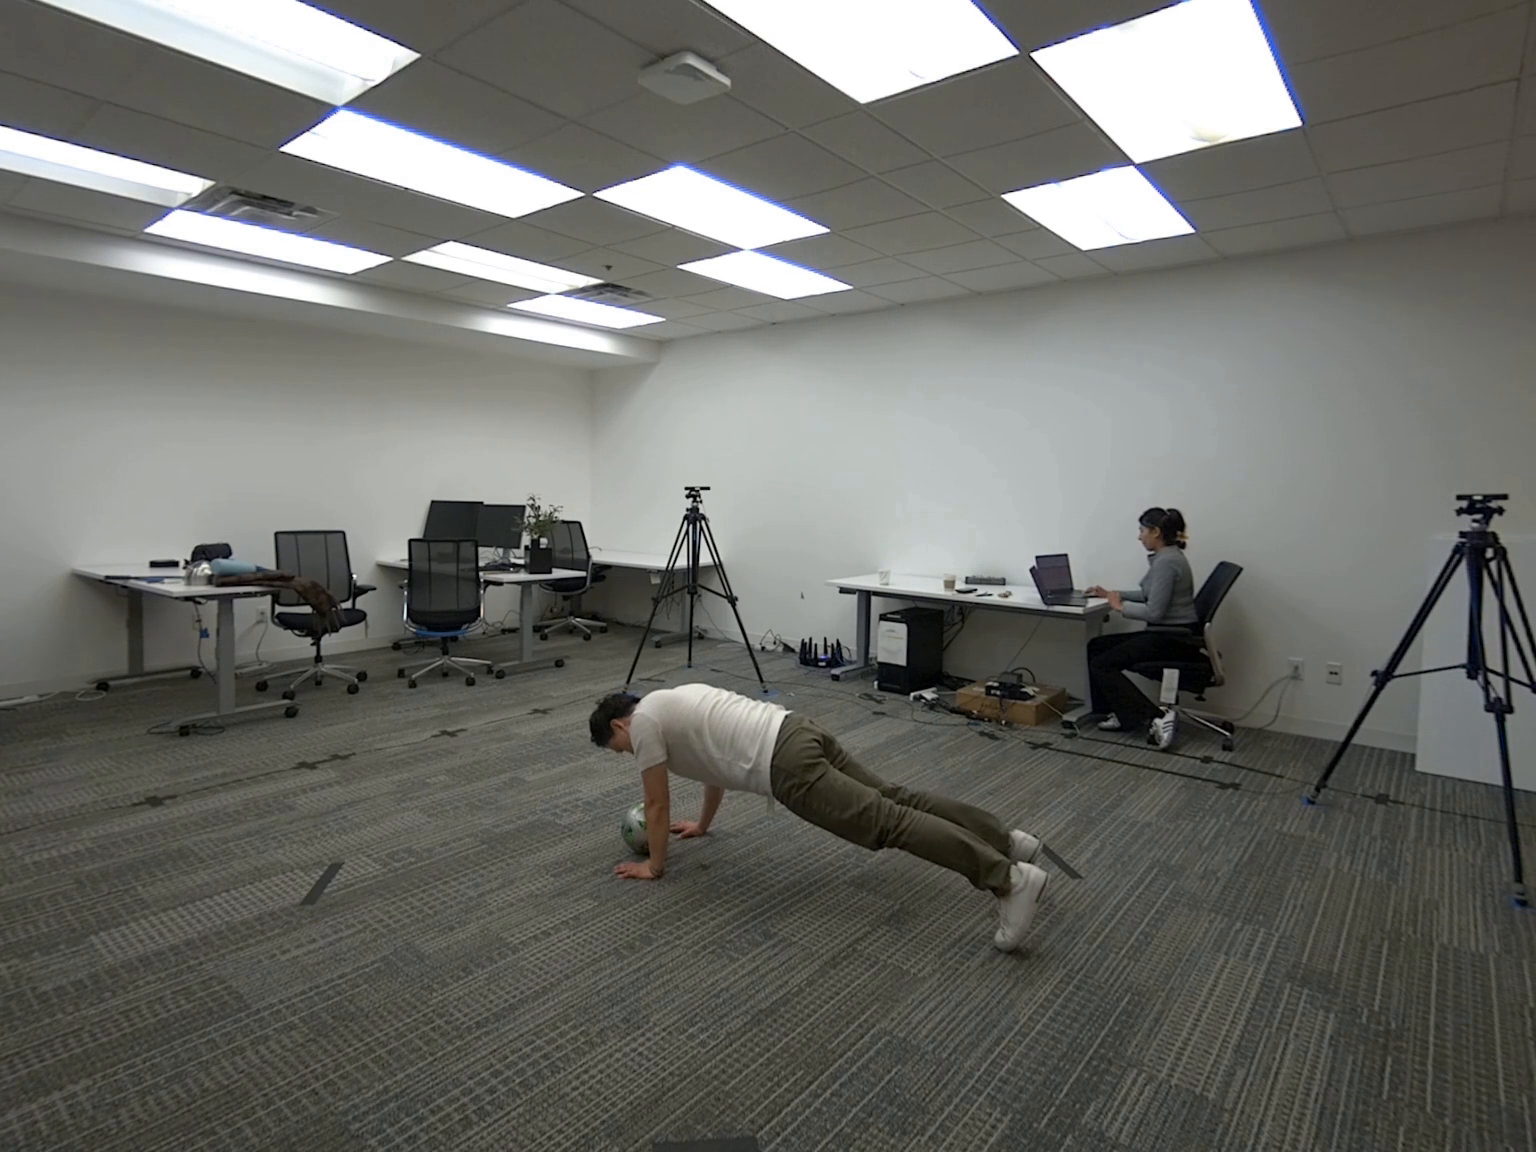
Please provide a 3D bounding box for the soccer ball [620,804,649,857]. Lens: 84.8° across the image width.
[{"bbox_3d":[-0.478,0.952,3.238,0.187,0.187,0.188,1,4,-2],"label":"soccer ball"}]
